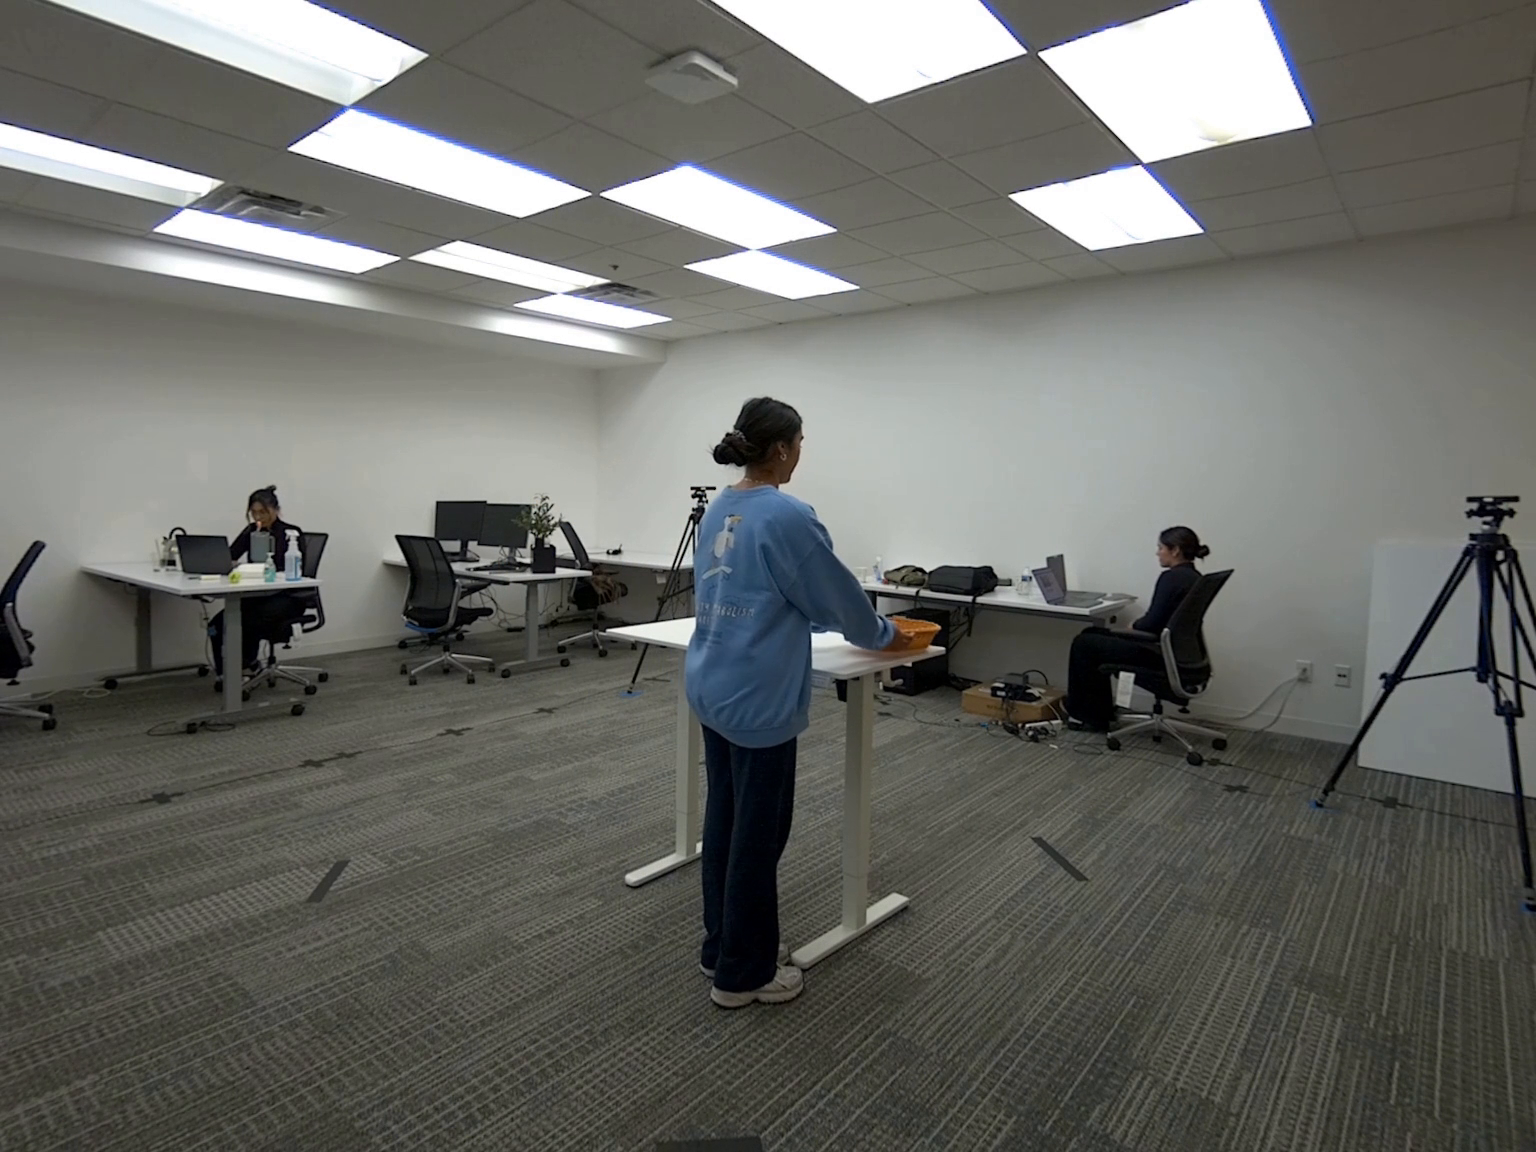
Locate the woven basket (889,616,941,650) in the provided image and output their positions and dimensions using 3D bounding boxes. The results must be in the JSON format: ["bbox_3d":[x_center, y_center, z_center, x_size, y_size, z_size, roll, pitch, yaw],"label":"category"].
[{"bbox_3d":[0.382,0.184,2.689,0.261,0.073,0.339,8,7,42],"label":"woven basket"}]
